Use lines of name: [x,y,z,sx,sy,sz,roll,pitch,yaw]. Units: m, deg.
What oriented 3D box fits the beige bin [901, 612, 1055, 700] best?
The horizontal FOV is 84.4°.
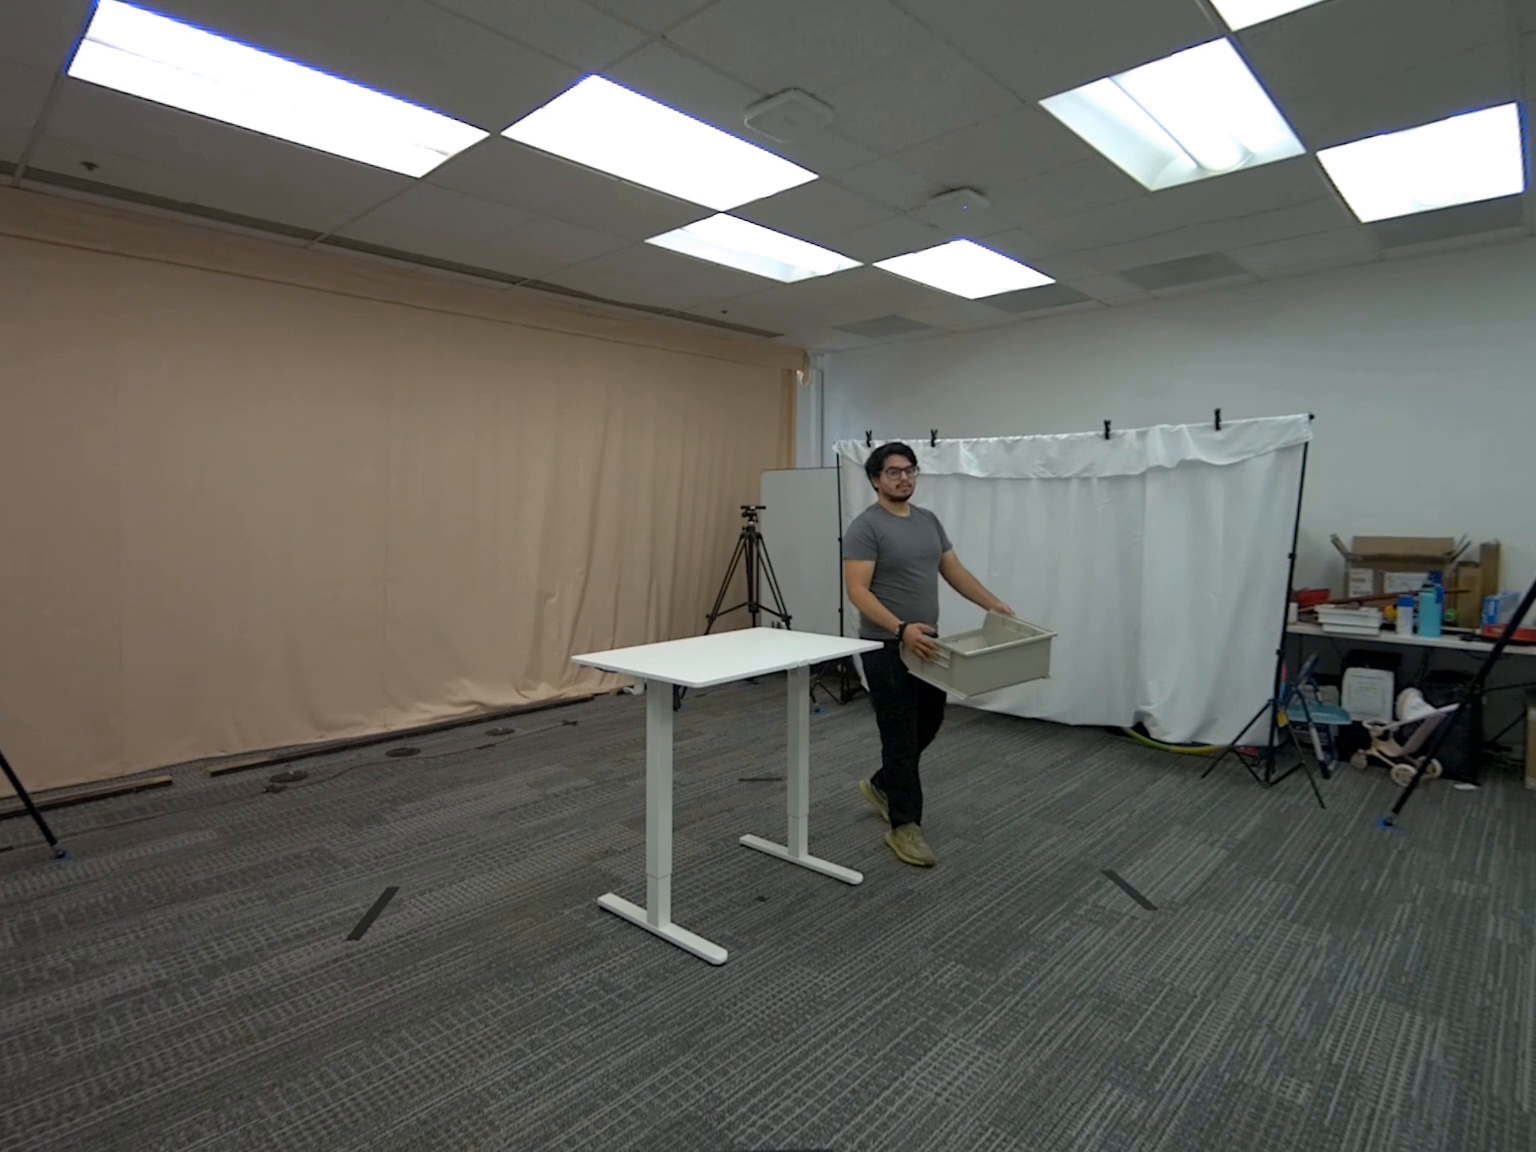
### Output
beige bin: [0.781,0.282,3.148,0.413,0.187,0.389,-8,17,-26]
